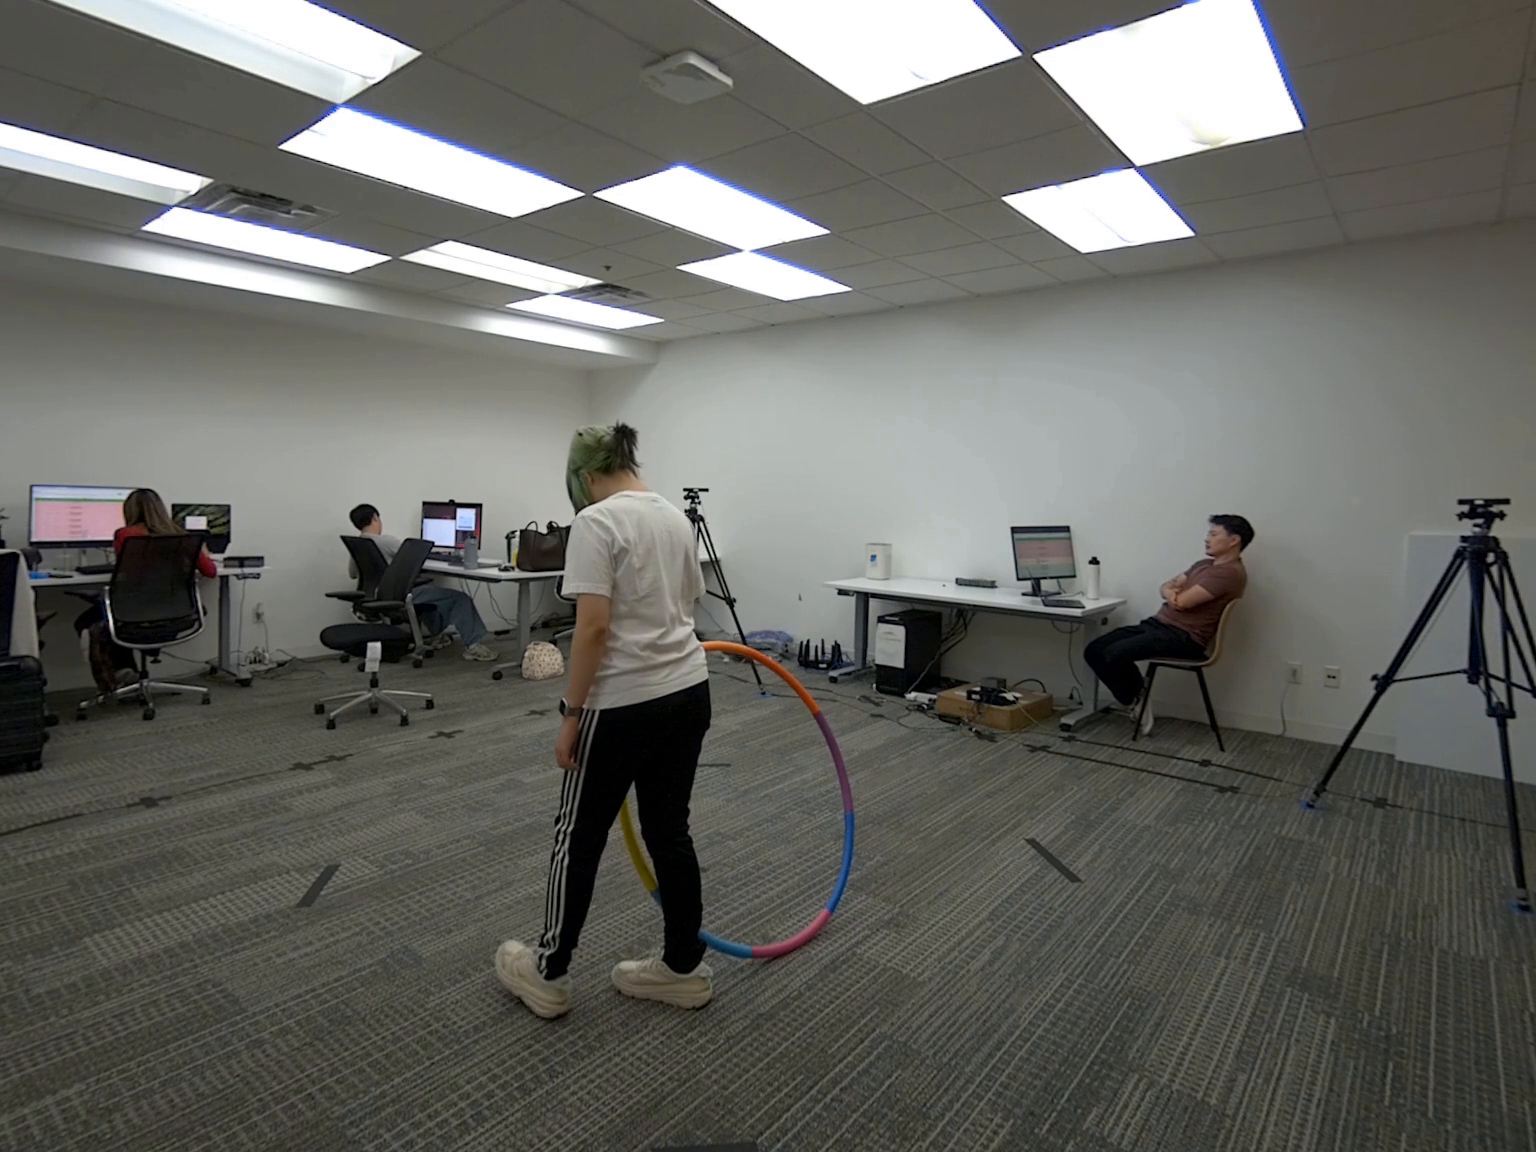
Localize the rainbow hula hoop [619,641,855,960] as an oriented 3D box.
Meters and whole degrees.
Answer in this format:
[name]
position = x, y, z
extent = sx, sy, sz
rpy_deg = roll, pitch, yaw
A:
[rainbow hula hoop]
position = -0.066, 0.675, 2.723
extent = 0.949, 0.999, 0.036
rpy_deg = -4, -23, -46
